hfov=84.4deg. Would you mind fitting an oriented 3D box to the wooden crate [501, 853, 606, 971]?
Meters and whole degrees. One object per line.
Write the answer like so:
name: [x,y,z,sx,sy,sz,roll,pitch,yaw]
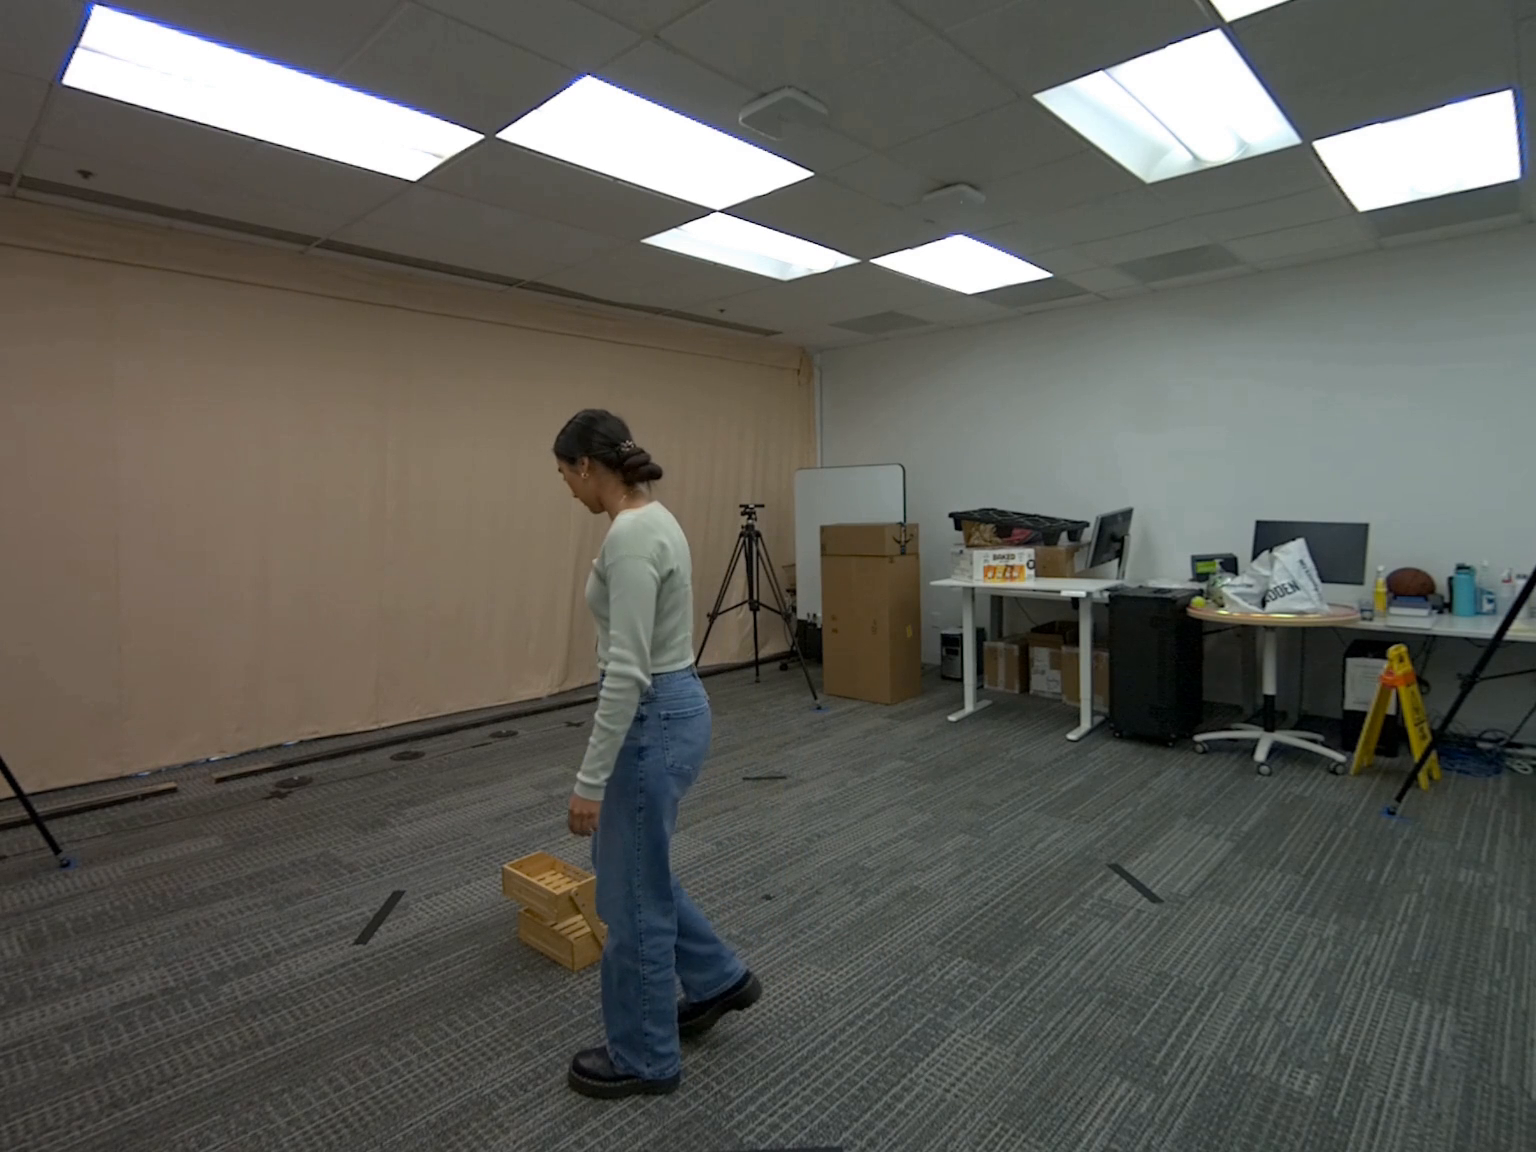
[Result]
wooden crate: [-0.635,1.043,2.693,0.335,0.272,0.293,2,6,41]
